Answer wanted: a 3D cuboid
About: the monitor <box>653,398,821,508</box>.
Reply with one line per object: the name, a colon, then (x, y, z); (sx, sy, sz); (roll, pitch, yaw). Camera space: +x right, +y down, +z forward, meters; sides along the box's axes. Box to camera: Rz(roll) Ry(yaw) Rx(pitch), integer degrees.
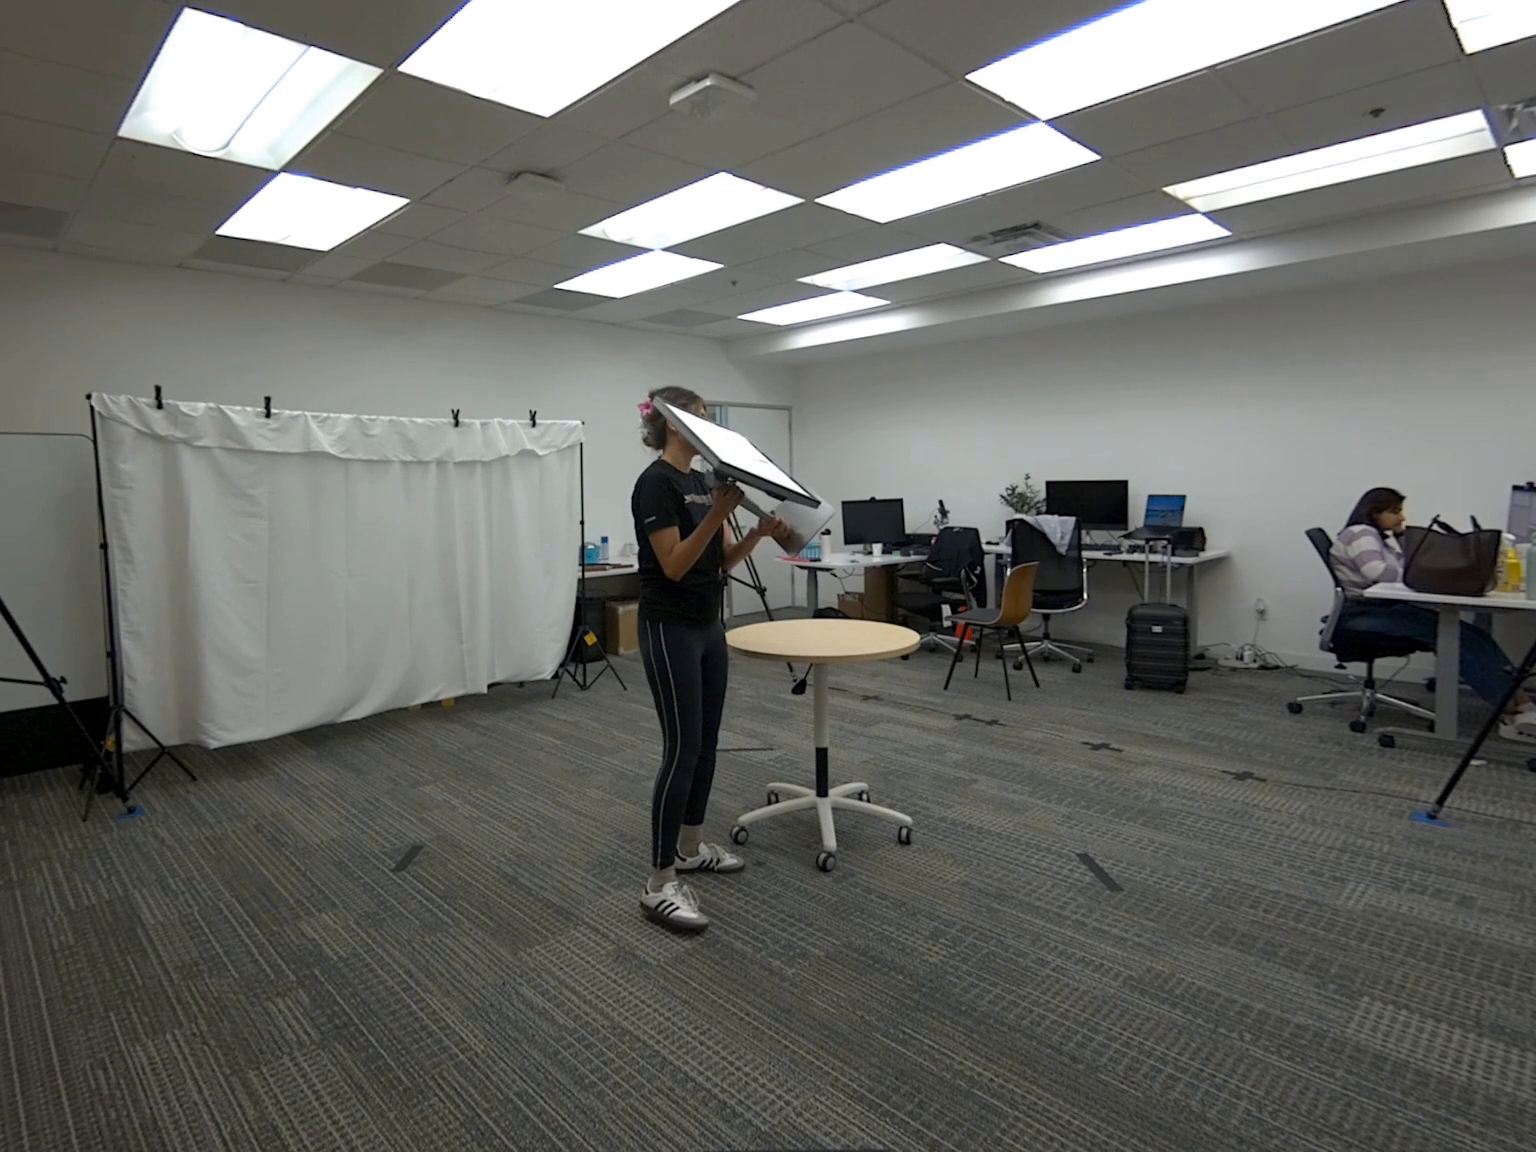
monitor: (-0.064, -0.311, 2.629); (0.503, 0.187, 0.559); (37, 5, -35)
